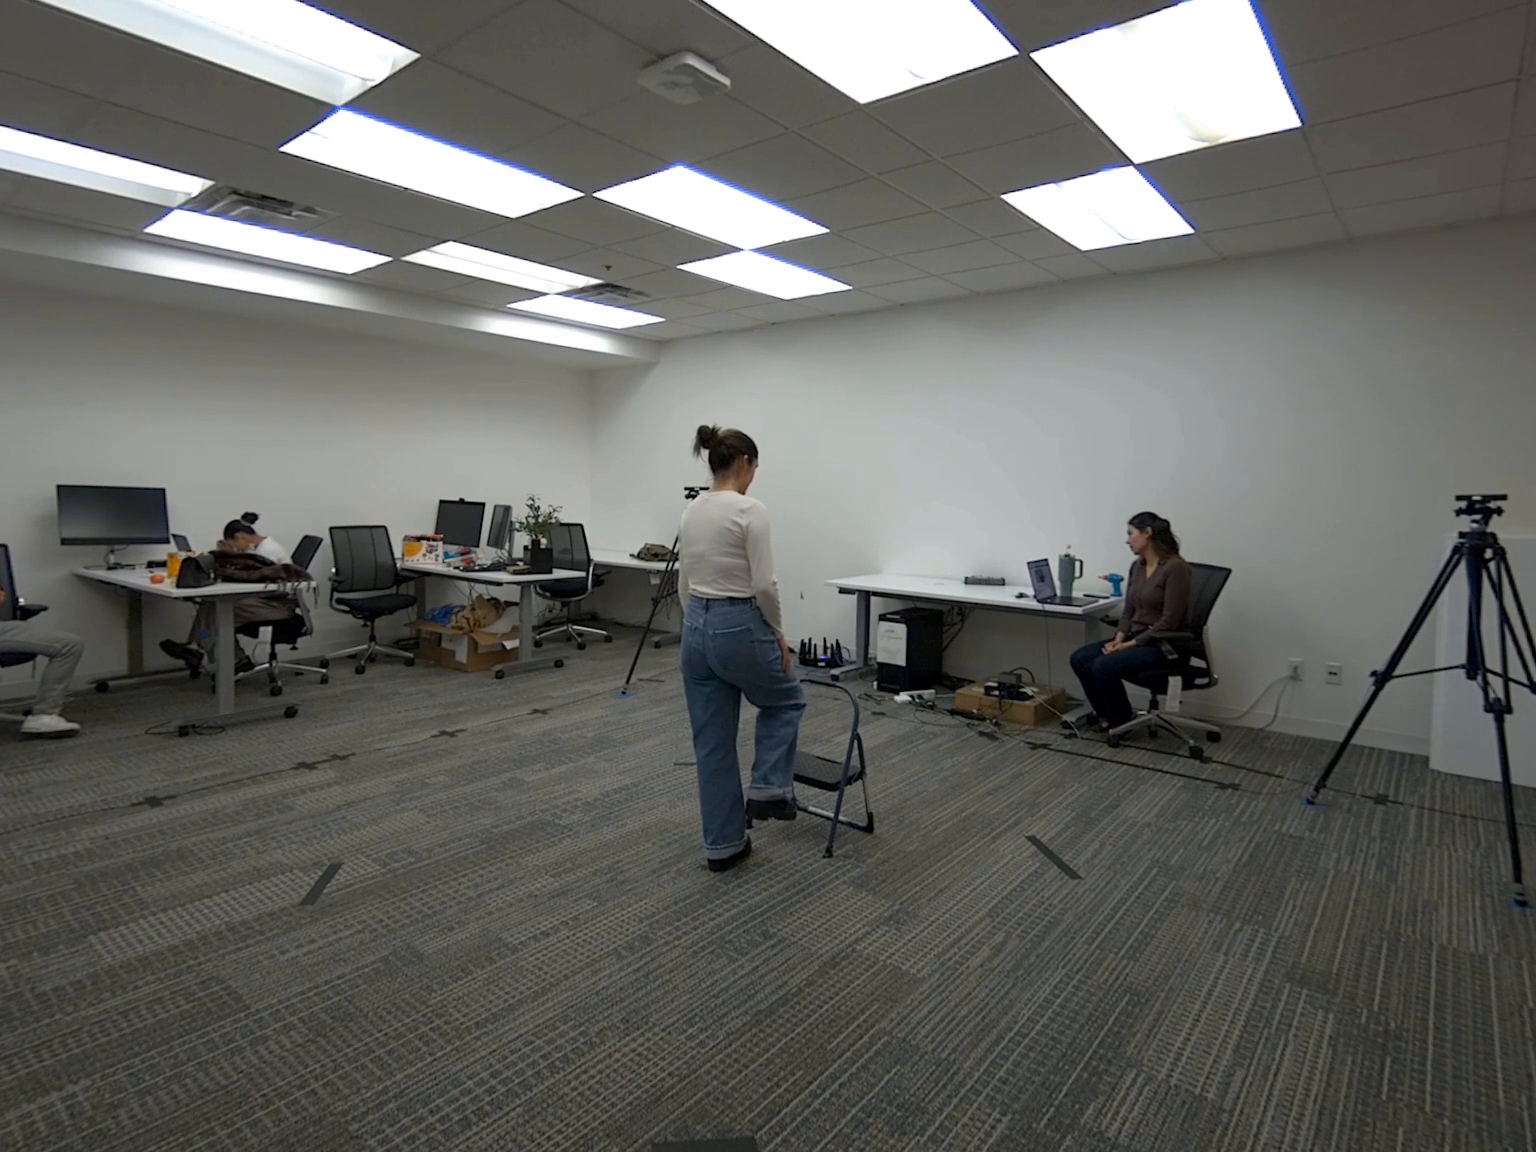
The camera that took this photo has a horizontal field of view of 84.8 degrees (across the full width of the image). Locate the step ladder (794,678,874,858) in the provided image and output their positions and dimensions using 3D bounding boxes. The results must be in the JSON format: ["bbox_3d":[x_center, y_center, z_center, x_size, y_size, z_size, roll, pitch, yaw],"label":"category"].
[{"bbox_3d":[0.169,0.734,3.463,0.445,0.604,0.339,5,5,39],"label":"step ladder"}]
